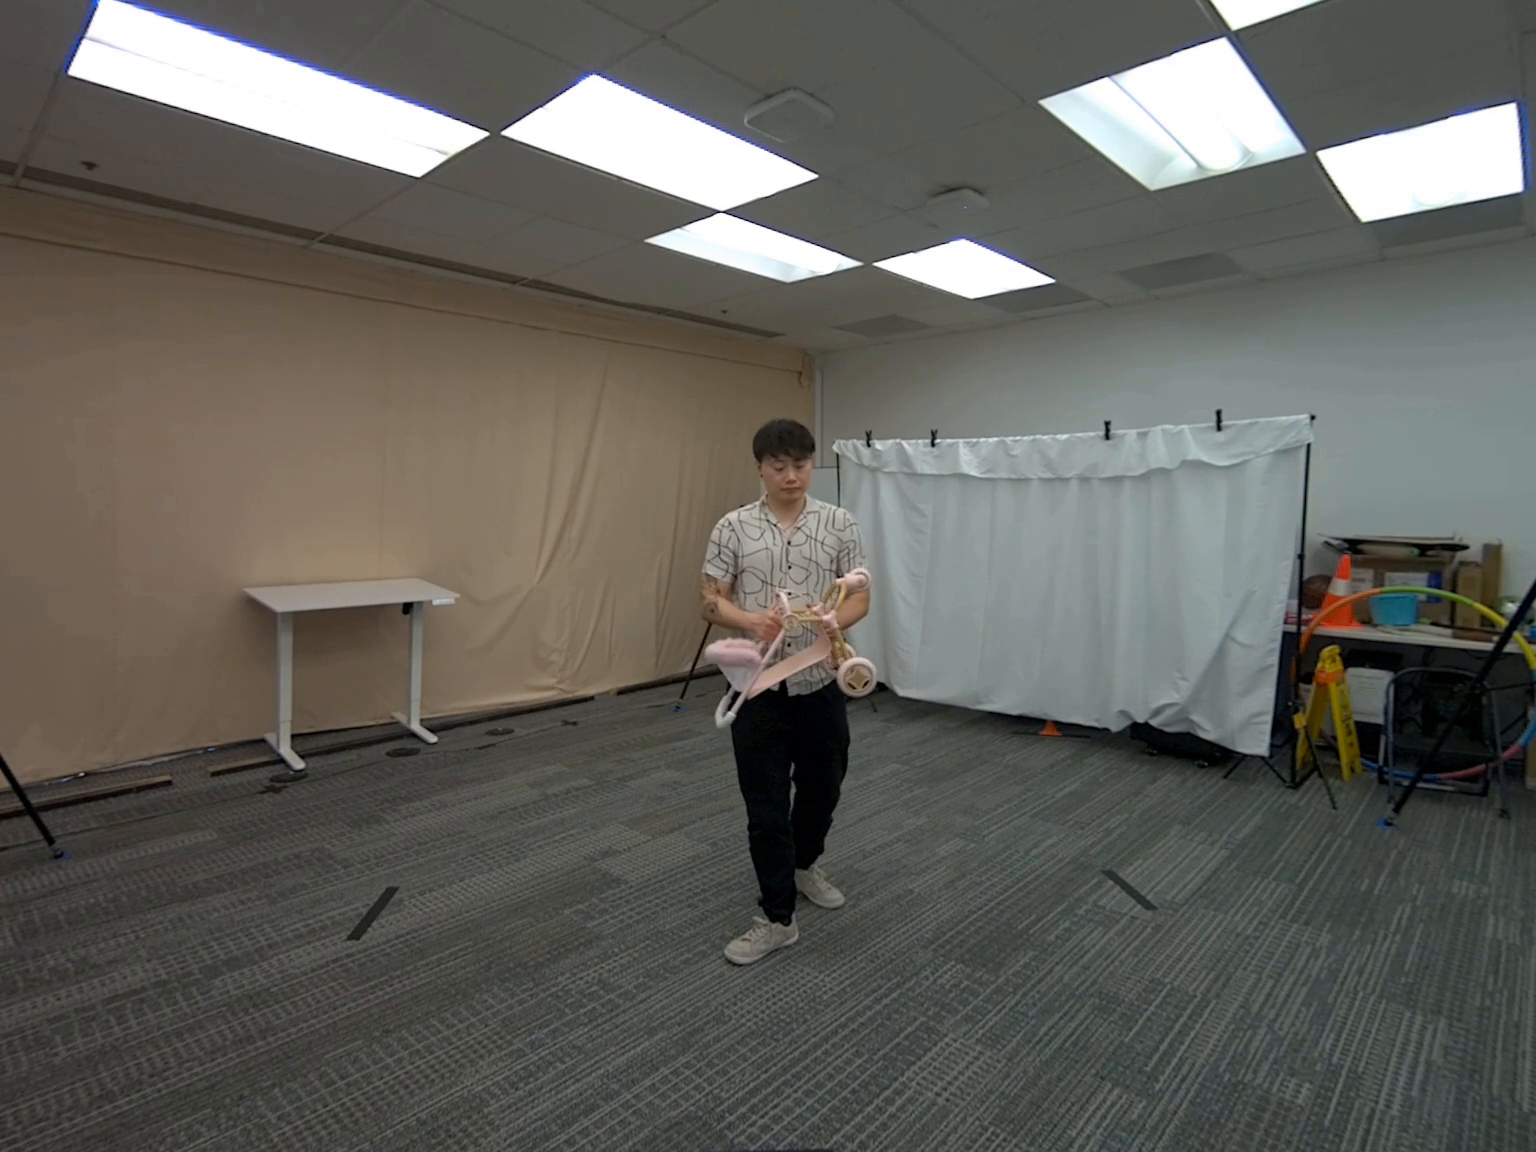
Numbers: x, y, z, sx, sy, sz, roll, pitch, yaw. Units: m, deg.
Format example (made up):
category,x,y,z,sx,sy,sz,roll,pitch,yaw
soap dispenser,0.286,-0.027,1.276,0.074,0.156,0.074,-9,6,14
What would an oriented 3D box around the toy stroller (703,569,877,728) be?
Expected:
category,x,y,z,sx,sy,sz,roll,pitch,yaw
toy stroller,0.073,0.198,2.401,0.534,0.339,0.284,-14,9,-1
